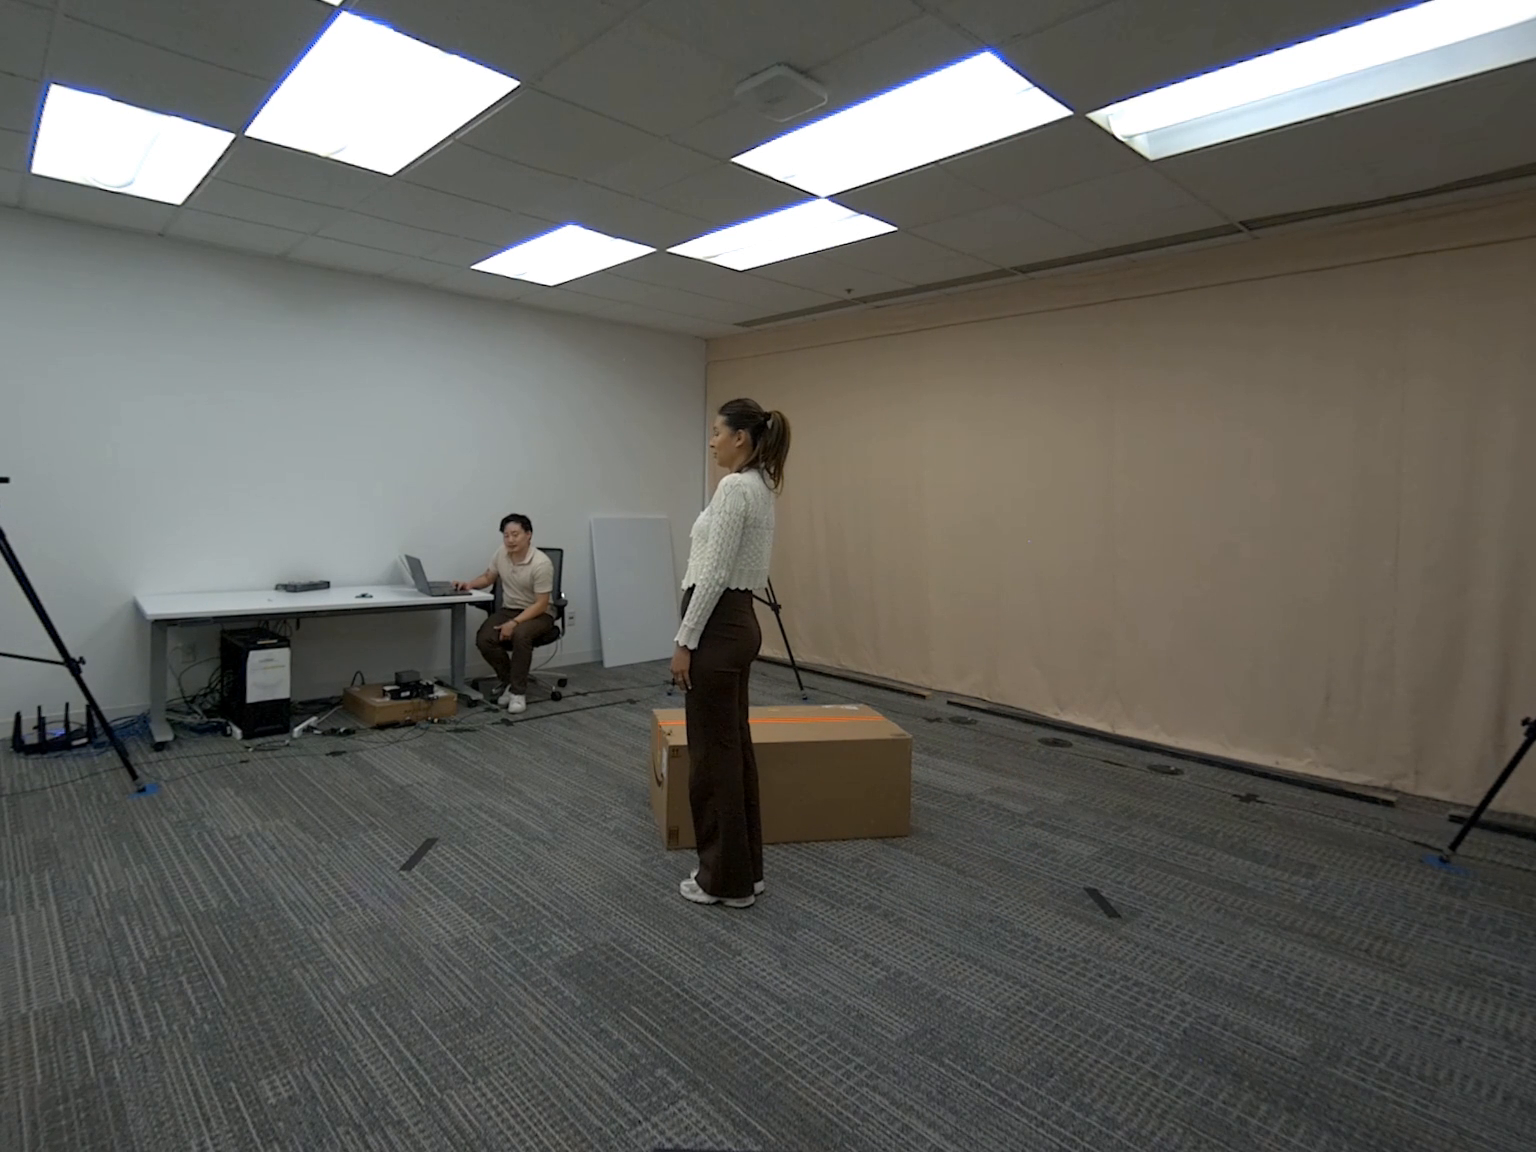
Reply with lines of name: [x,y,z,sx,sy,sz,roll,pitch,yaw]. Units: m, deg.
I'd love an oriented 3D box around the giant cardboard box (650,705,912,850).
giant cardboard box: [0.024,0.840,3.668,1.016,0.425,0.584,0,3,-12]
